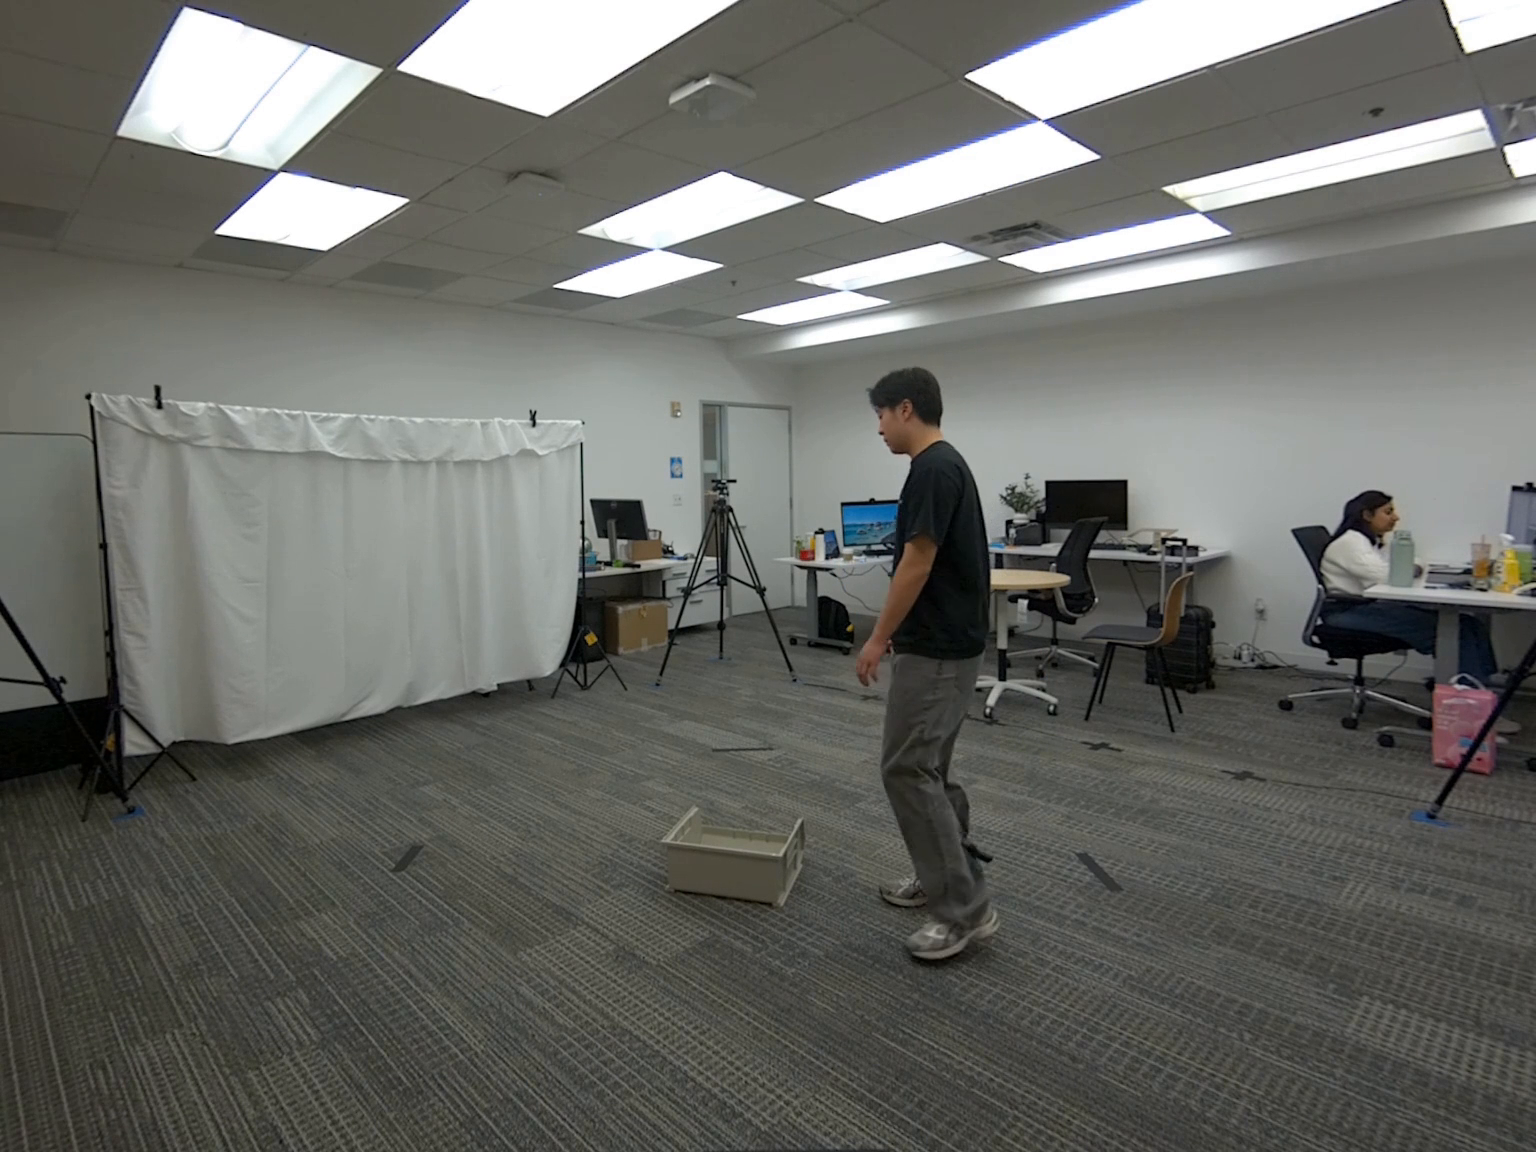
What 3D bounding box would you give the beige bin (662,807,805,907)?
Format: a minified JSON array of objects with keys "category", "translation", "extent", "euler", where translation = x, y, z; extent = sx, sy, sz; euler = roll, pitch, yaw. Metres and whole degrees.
[{"category":"beige bin","translation":[-0.109,0.969,3.012],"extent":[0.429,0.188,0.373],"euler":[1,7,16]}]
